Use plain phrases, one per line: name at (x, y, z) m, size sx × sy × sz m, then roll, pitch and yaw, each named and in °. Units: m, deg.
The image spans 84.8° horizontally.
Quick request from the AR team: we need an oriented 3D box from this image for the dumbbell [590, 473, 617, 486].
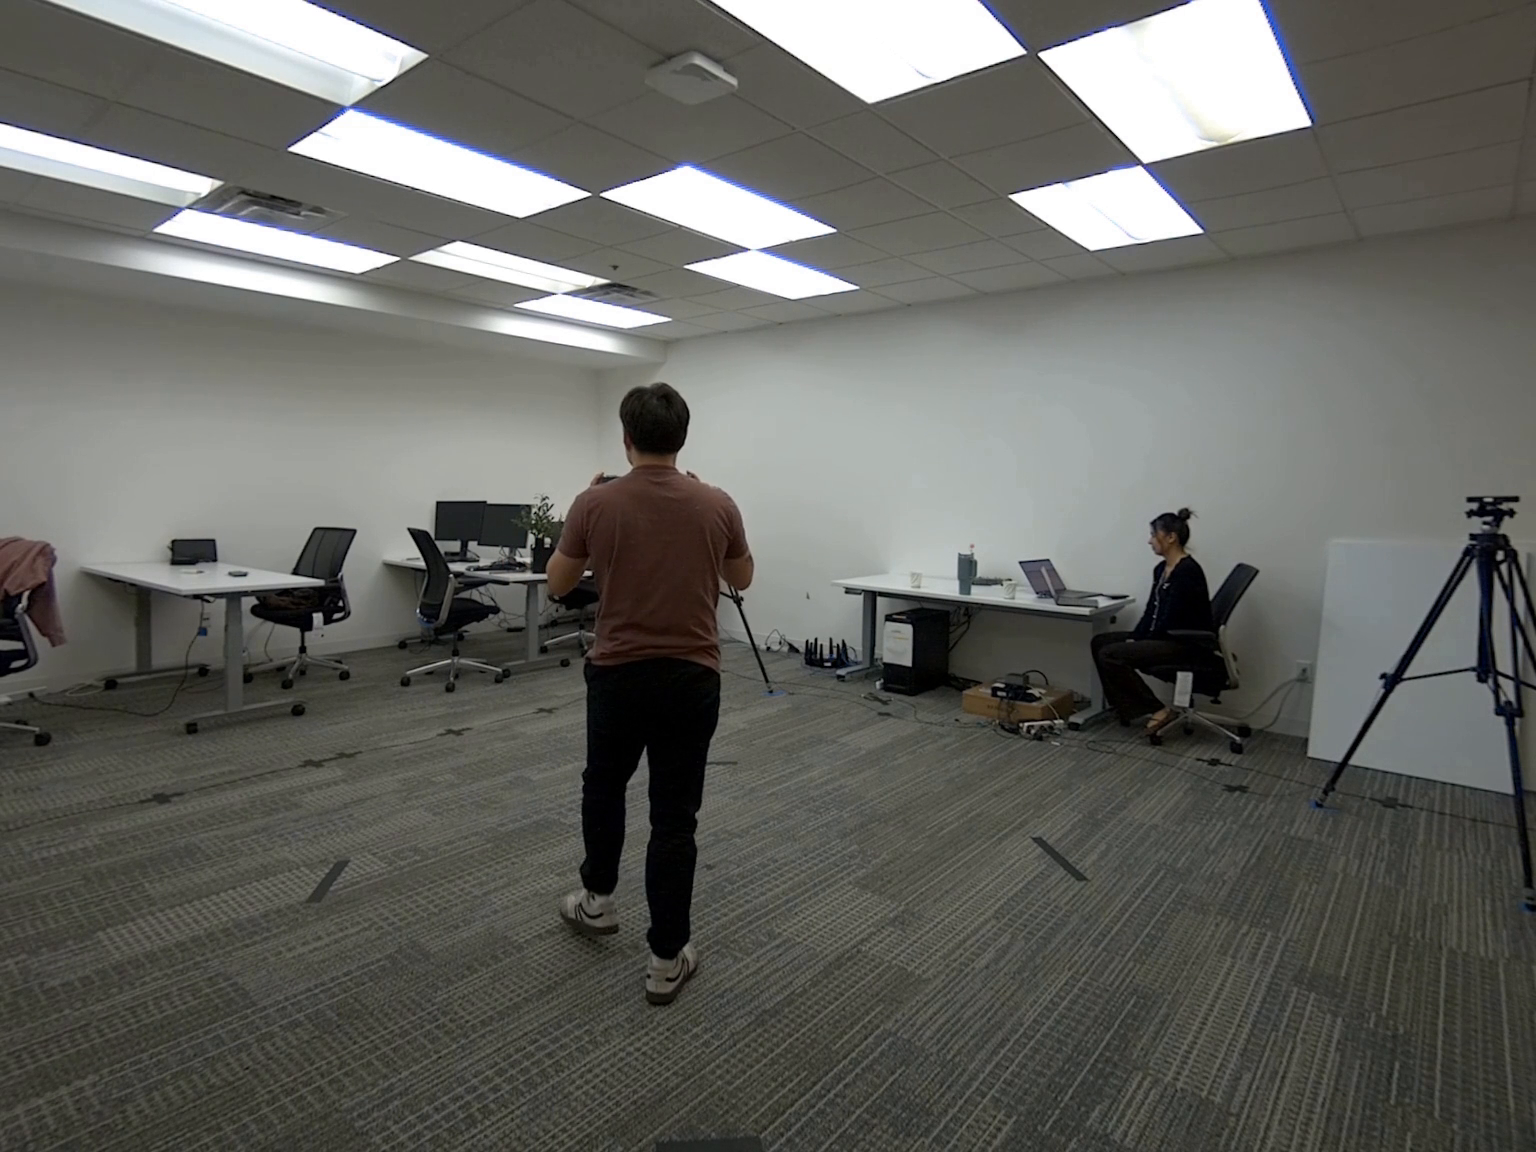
dumbbell at (-0.374, -0.249, 2.588) m, size 0.291 × 0.107 × 0.125 m, roll -2°, pitch 15°, yaw -8°
